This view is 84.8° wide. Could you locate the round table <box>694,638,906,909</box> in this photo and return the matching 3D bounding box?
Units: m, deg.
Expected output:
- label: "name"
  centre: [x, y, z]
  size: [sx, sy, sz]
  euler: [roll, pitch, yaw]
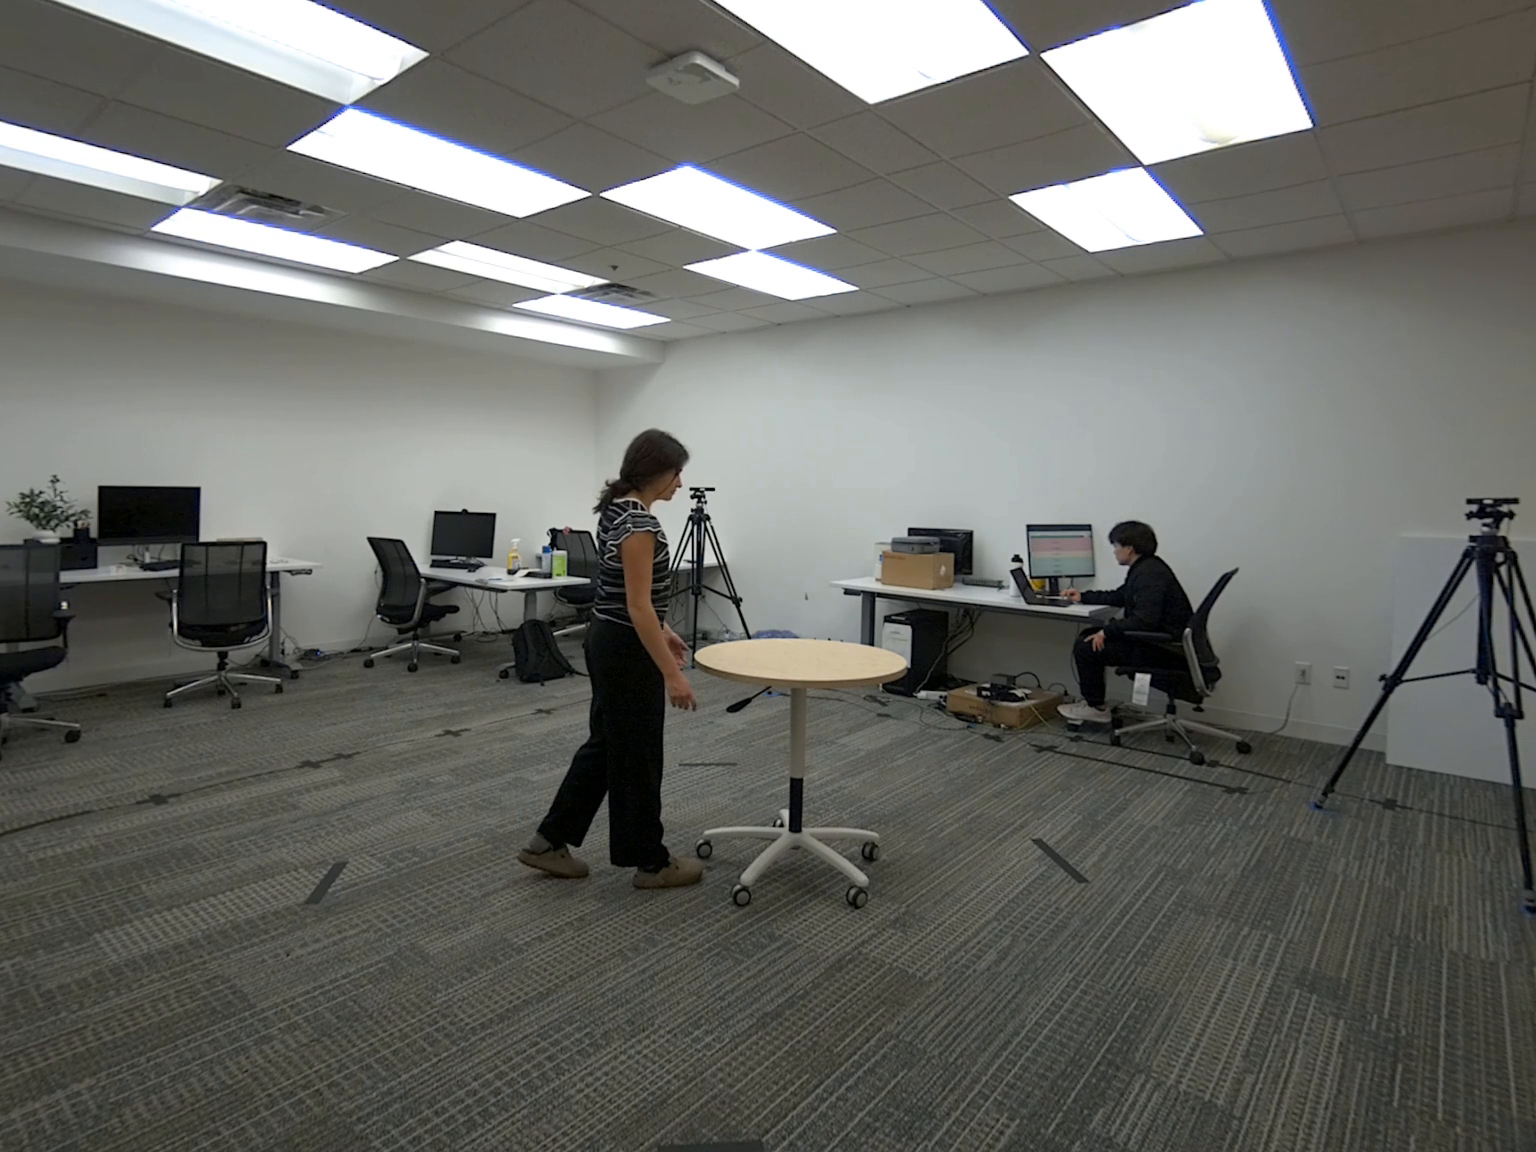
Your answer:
- label: "round table"
  centre: [0.098, 0.690, 3.103]
  size: [0.763, 0.791, 0.768]
  euler: [1, 4, -2]
